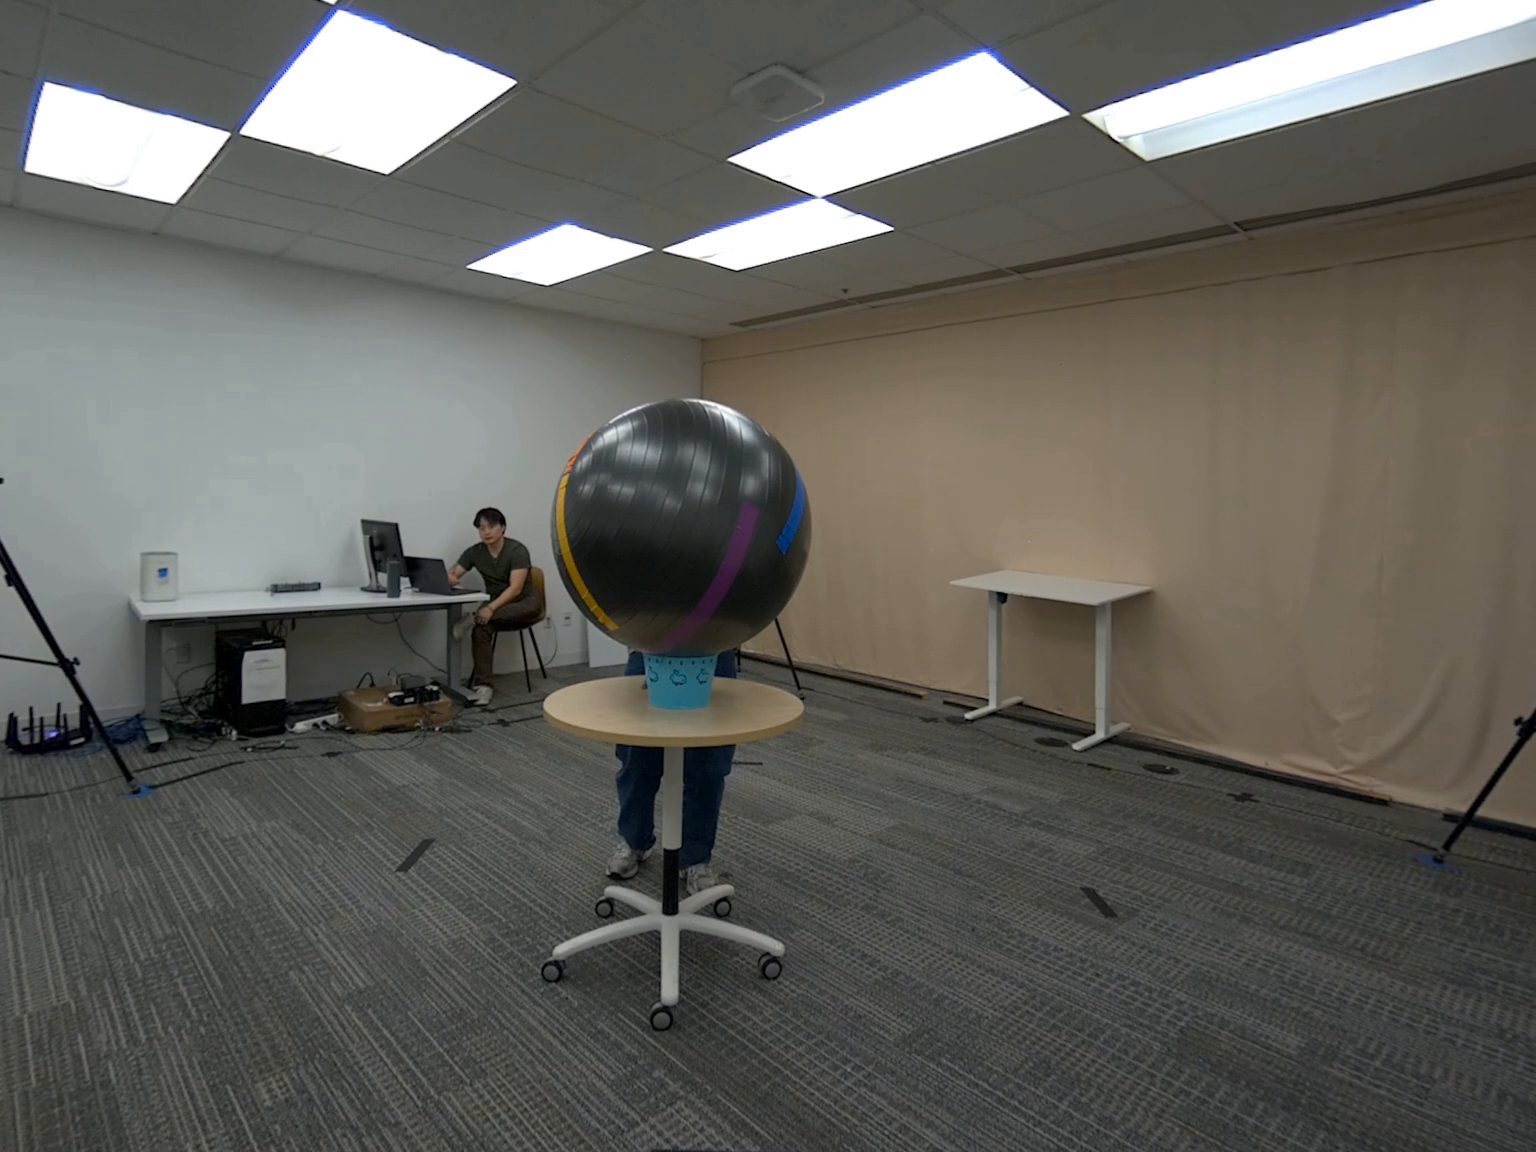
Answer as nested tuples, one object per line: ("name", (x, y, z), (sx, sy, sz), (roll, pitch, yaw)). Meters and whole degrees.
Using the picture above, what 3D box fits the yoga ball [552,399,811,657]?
("yoga ball", (-0.259, -0.136, 2.470), (0.757, 0.756, 0.761), (1, 4, -1))
